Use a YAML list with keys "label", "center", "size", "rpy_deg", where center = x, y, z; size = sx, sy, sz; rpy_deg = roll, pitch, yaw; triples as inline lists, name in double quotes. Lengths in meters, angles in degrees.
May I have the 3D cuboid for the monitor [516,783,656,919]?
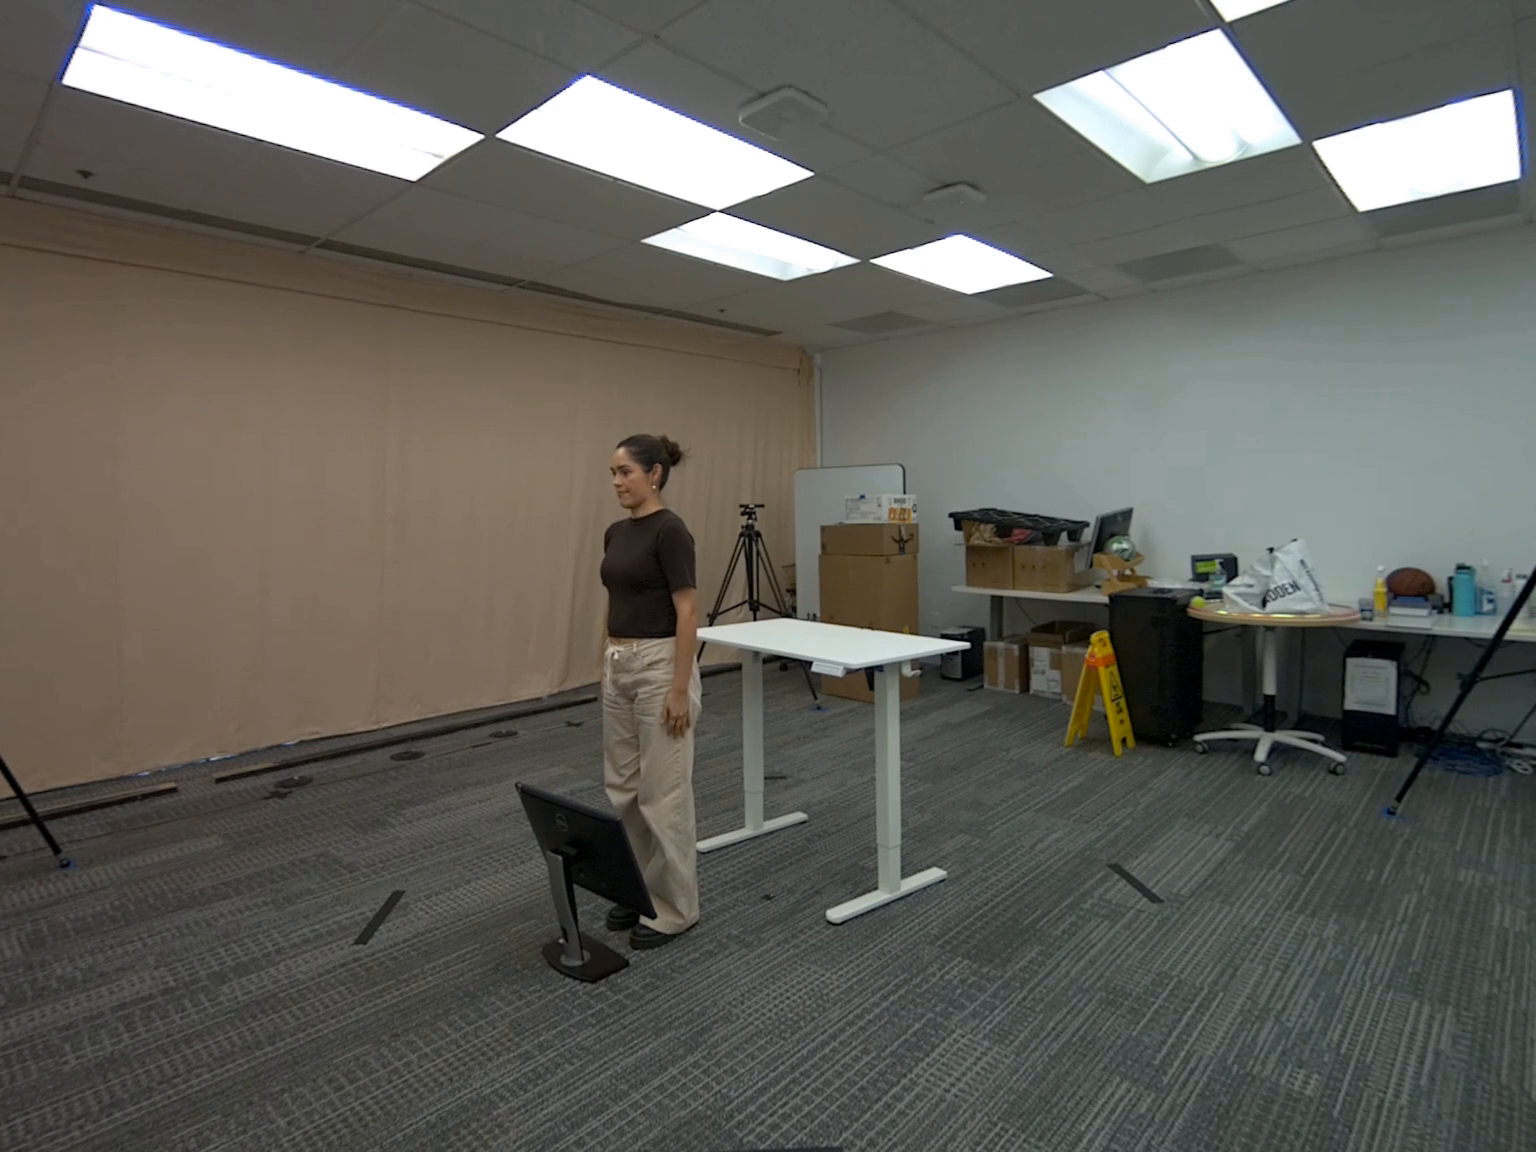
- label: "monitor"
  center: [-0.597, 0.938, 2.573]
  size: [0.557, 0.520, 0.182]
  rpy_deg: [1, 9, 43]
